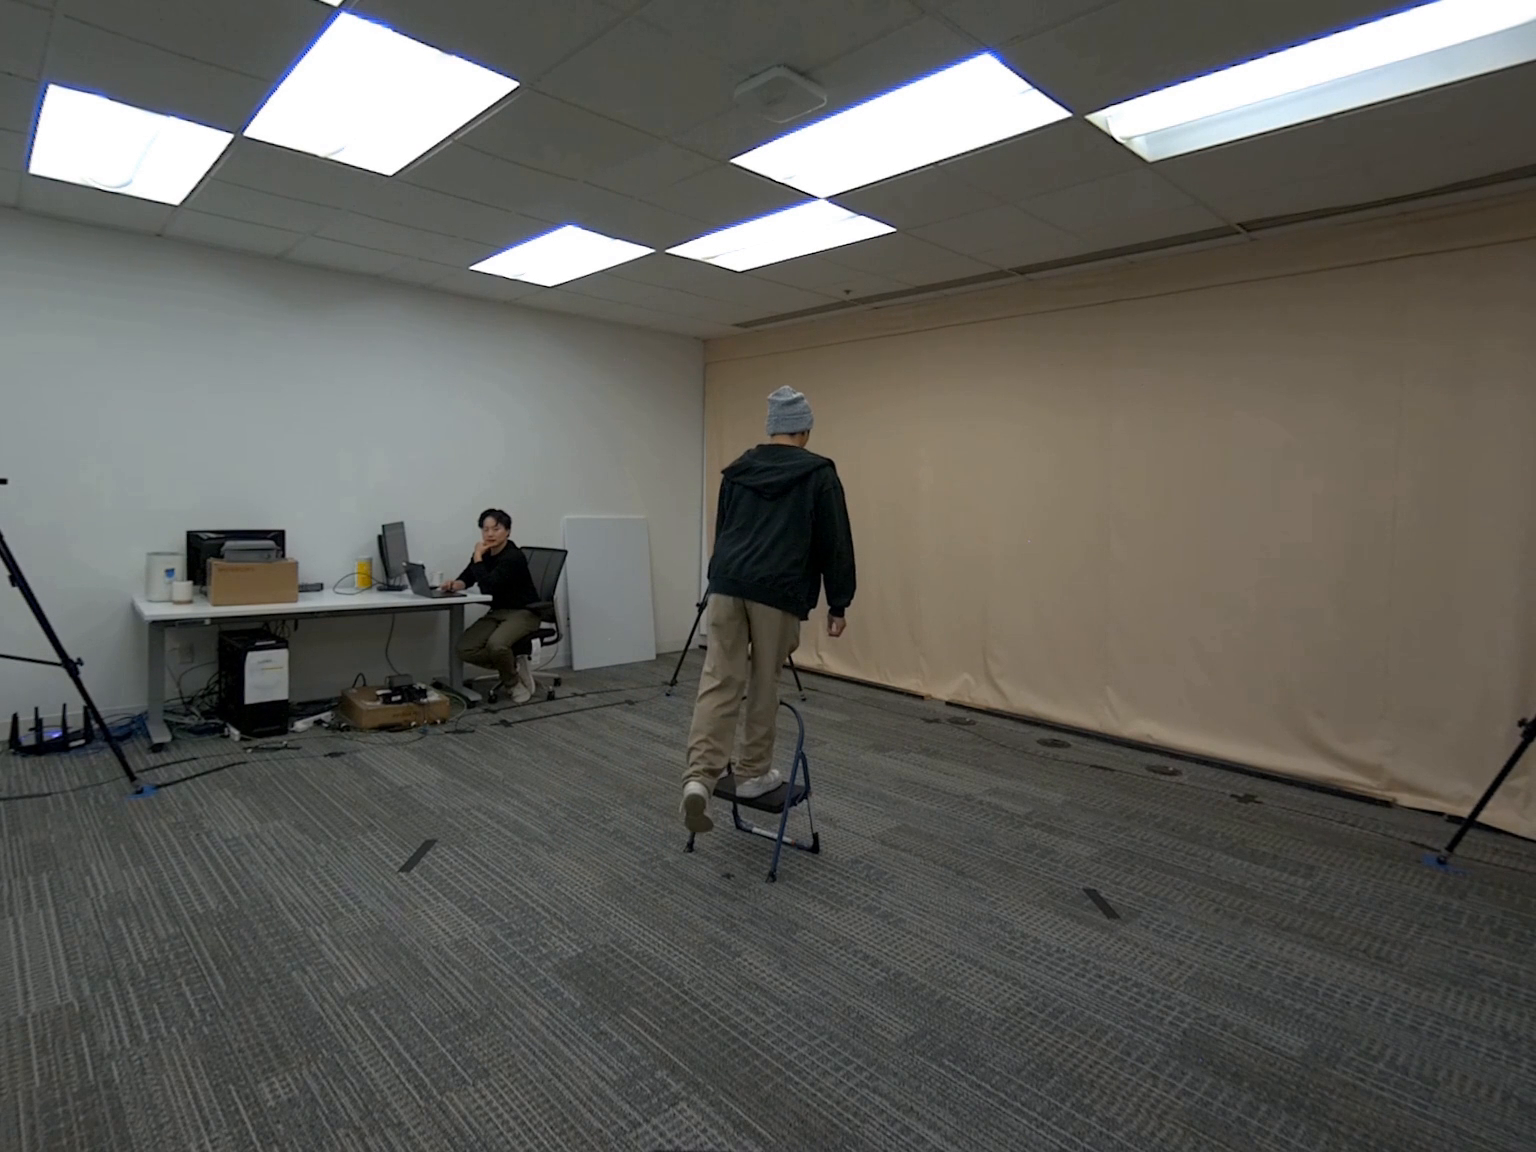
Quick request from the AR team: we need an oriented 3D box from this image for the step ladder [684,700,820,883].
[{"bbox_3d":[-0.055,0.791,3.308,0.441,0.605,0.341,4,4,36],"label":"step ladder"}]
